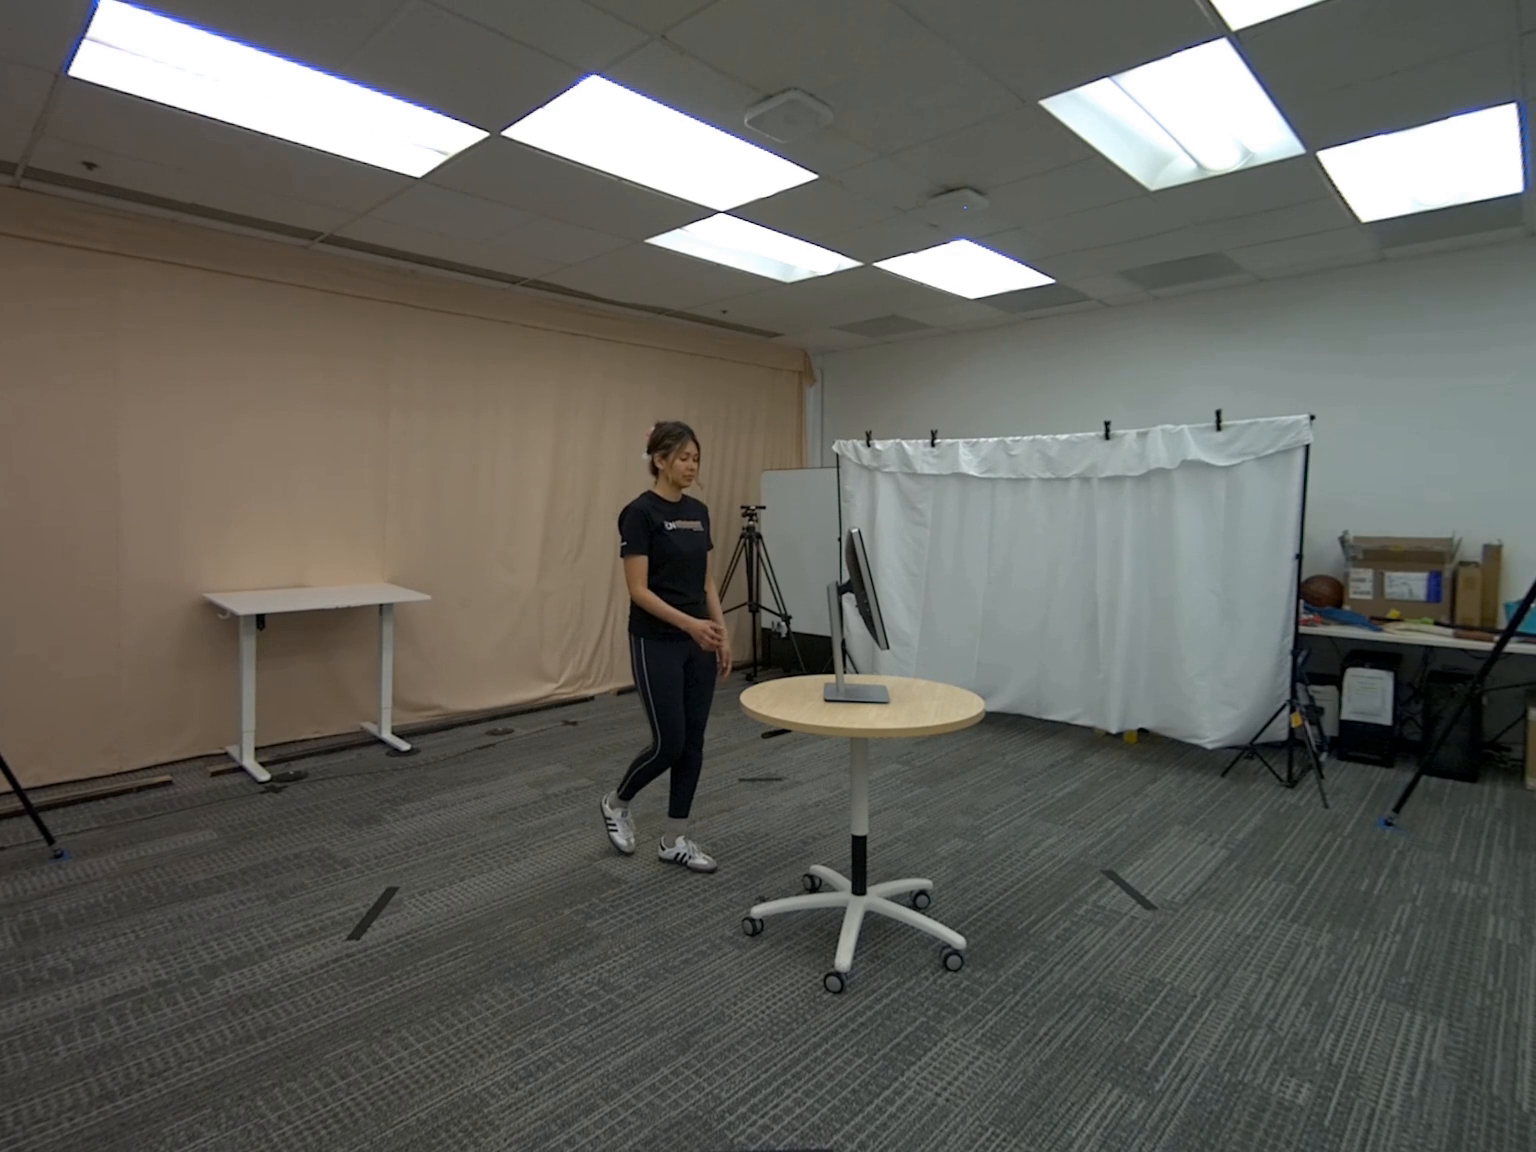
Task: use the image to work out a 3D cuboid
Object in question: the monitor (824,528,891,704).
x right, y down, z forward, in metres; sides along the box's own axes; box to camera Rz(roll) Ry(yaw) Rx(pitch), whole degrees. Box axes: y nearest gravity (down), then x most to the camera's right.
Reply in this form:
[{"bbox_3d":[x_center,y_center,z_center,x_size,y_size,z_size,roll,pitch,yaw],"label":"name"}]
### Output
[{"bbox_3d":[0.286,0.123,2.723,0.188,0.522,0.537,0,3,3],"label":"monitor"}]
